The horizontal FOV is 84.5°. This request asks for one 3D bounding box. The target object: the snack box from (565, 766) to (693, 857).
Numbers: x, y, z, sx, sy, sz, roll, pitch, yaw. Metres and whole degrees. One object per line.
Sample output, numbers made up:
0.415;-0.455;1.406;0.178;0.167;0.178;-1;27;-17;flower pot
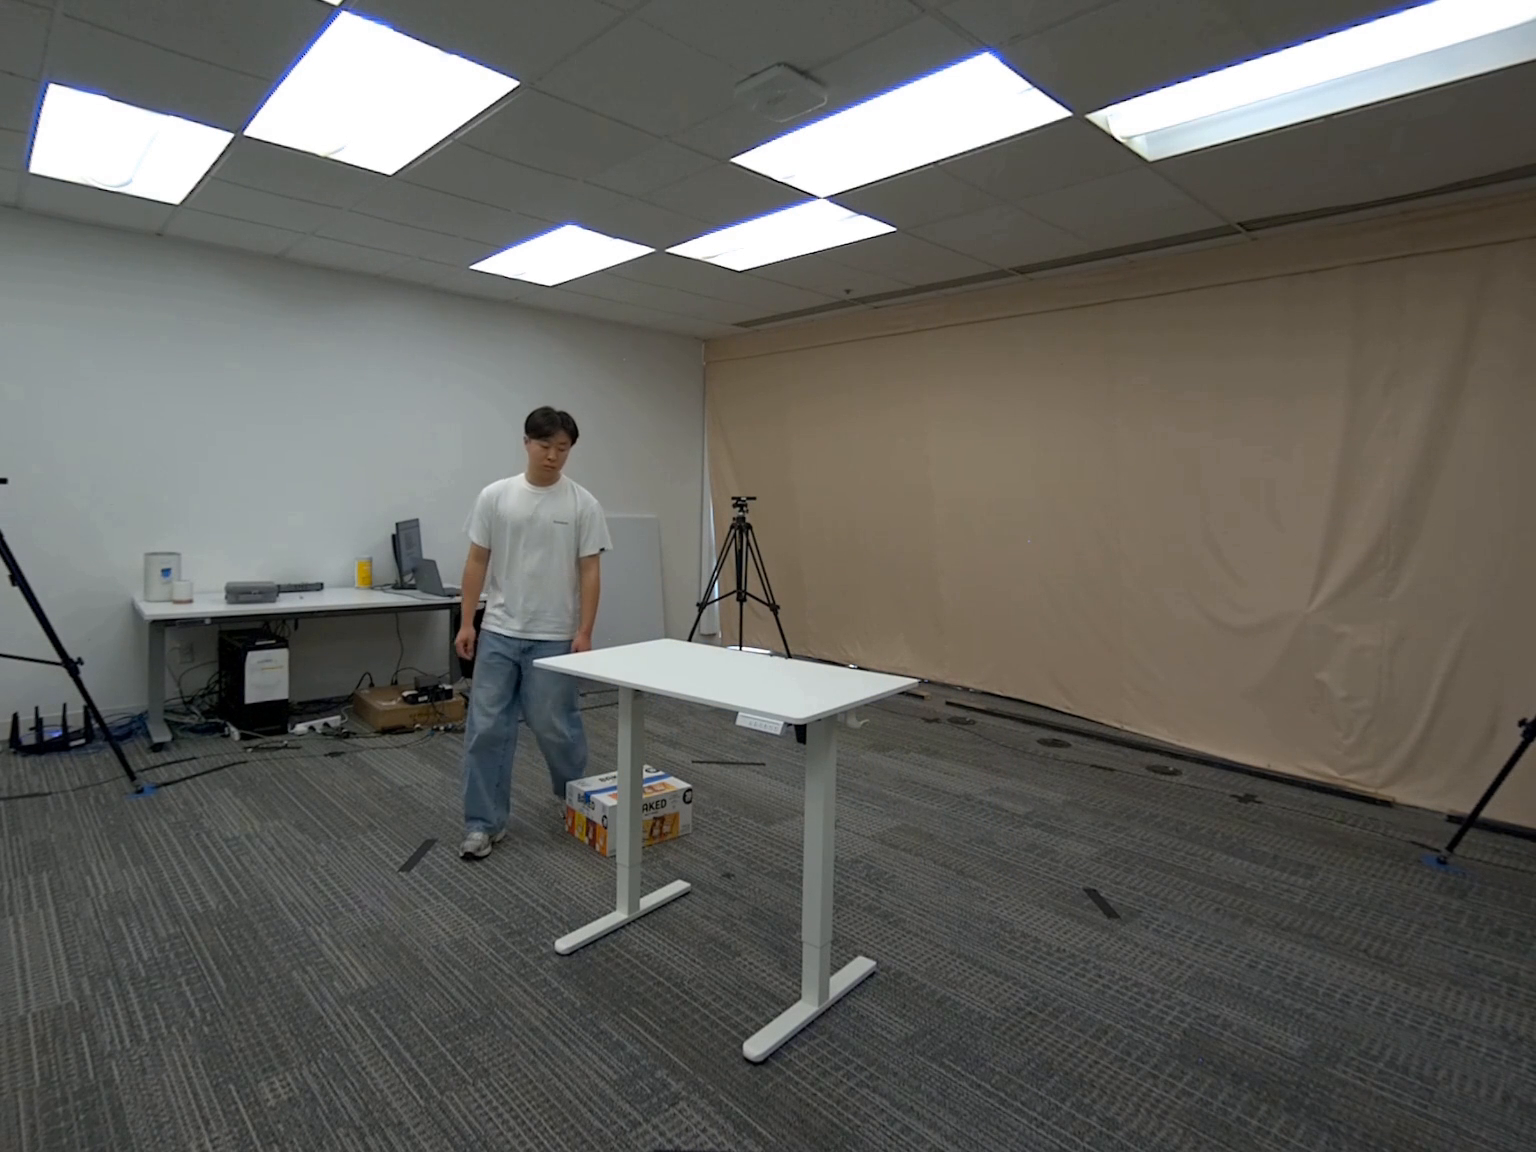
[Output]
-0.586;0.961;3.481;0.396;0.205;0.349;-3;6;-40;snack box
